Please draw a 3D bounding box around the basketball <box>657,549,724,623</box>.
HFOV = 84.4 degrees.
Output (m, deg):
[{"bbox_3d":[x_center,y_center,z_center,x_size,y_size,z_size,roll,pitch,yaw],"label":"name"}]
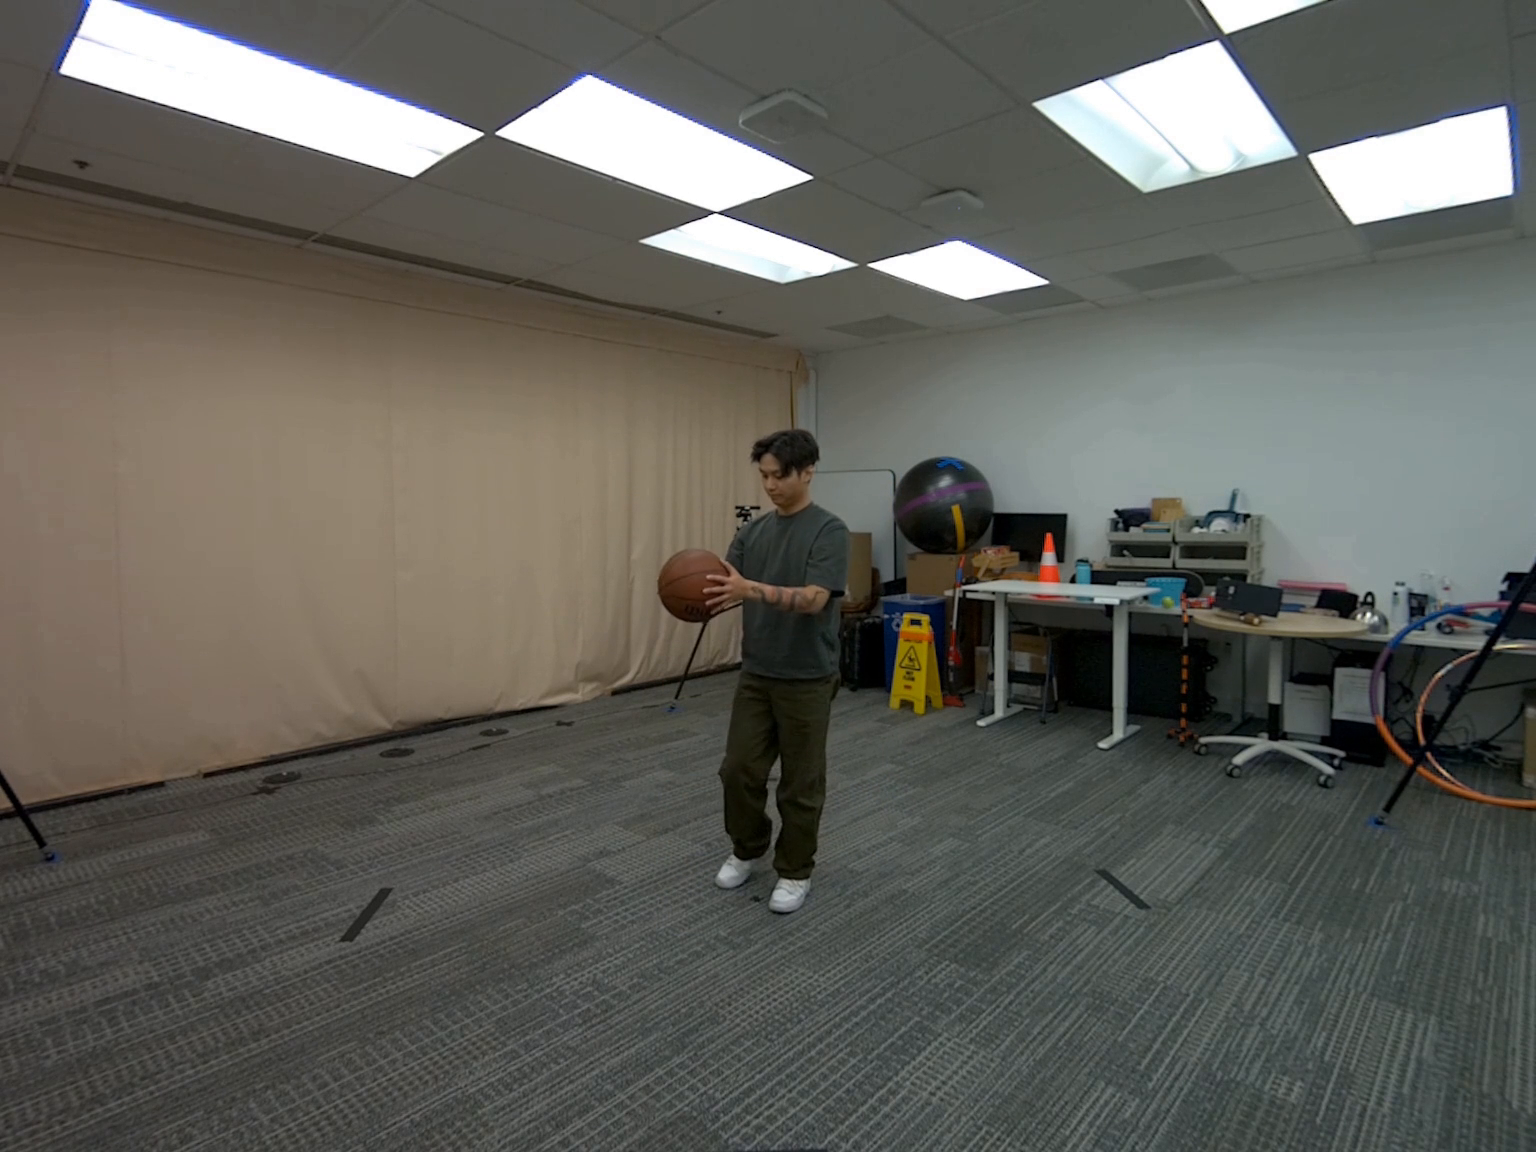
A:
[{"bbox_3d":[-0.234,0.043,2.726,0.236,0.235,0.237,0,4,-2],"label":"basketball"}]
